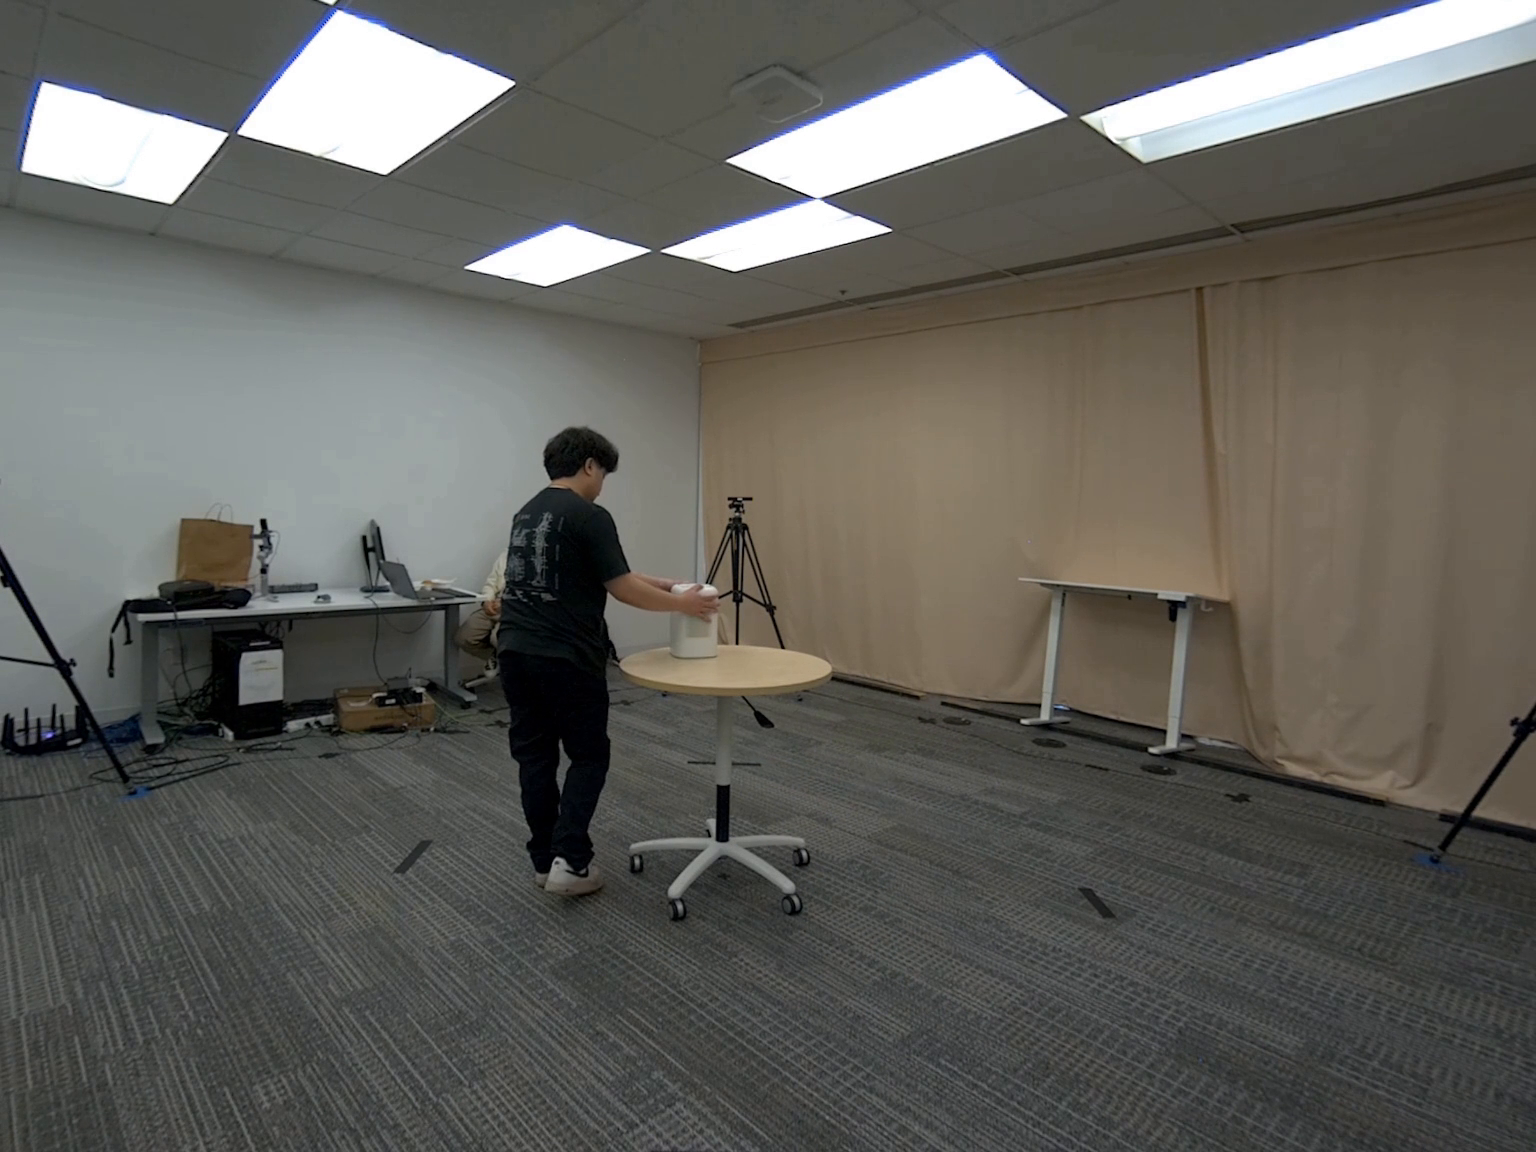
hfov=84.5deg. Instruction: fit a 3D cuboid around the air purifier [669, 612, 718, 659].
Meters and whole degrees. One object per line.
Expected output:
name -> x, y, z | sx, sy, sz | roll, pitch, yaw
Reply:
air purifier -> -0.292, 0.171, 3.207 | 0.170, 0.265, 0.173 | 0, 1, -11
